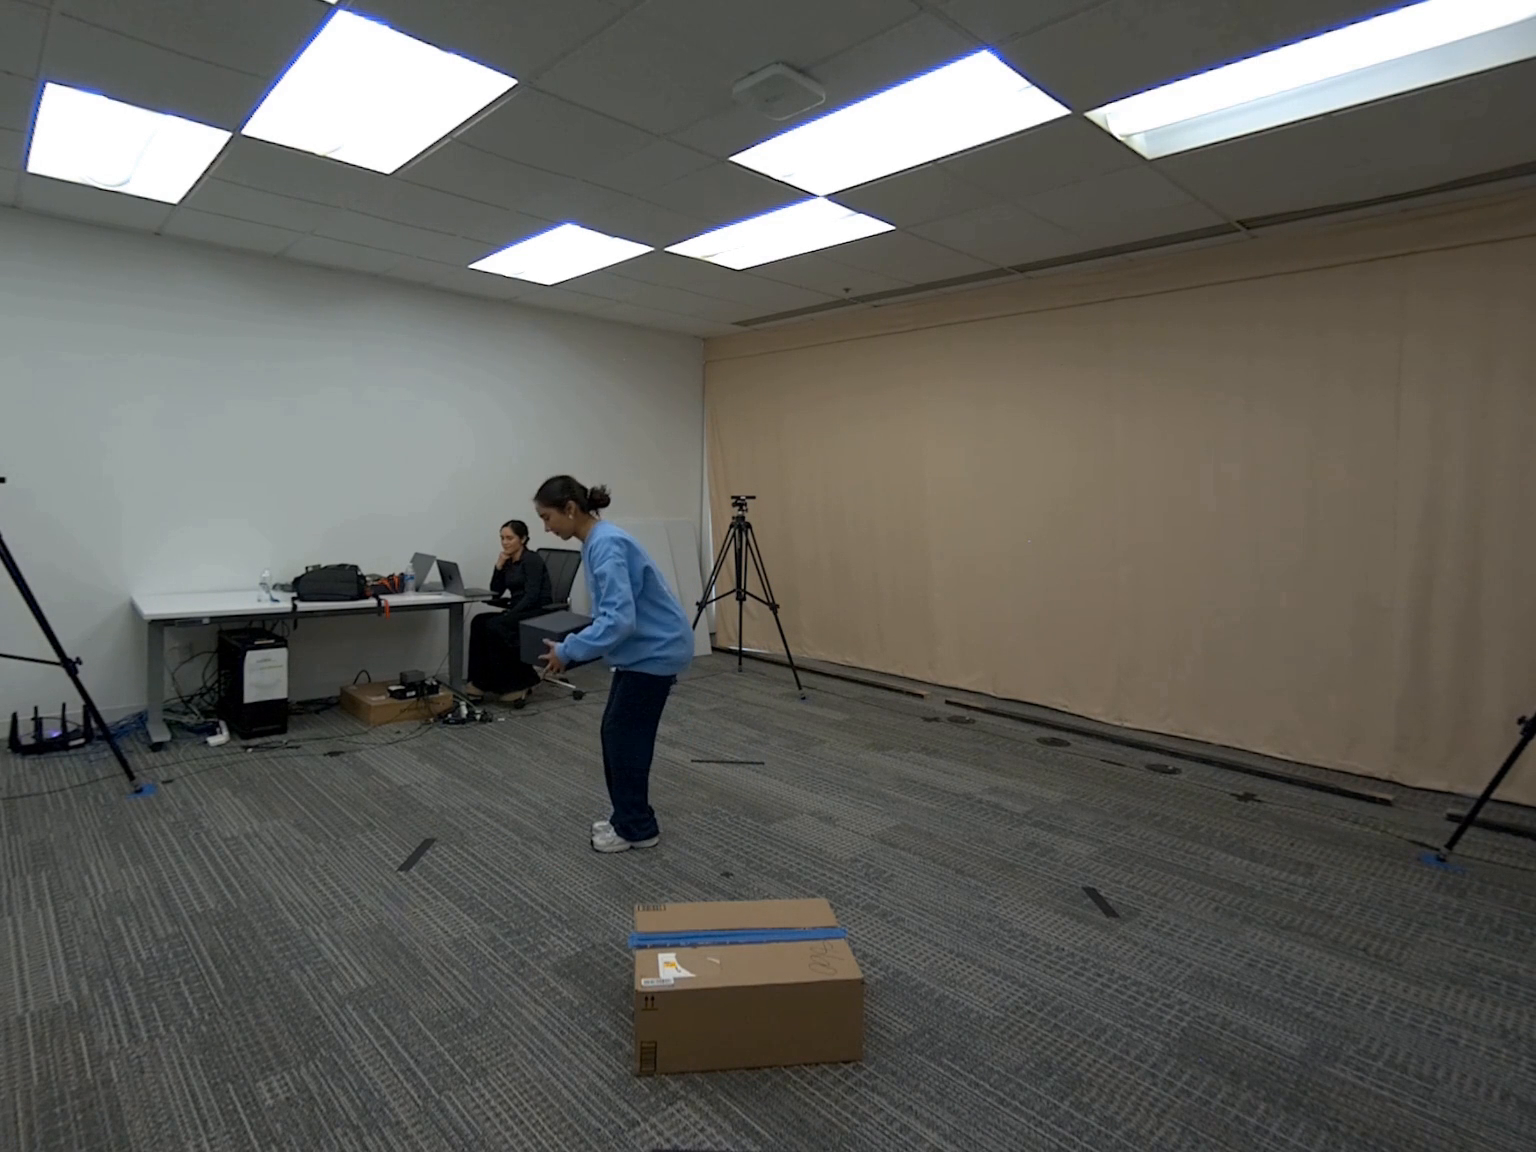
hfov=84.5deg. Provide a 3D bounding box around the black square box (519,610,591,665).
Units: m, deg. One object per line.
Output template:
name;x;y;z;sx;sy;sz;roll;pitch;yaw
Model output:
black square box;-0.801;0.249;3.186;0.233;0.154;0.213;9;16;34
